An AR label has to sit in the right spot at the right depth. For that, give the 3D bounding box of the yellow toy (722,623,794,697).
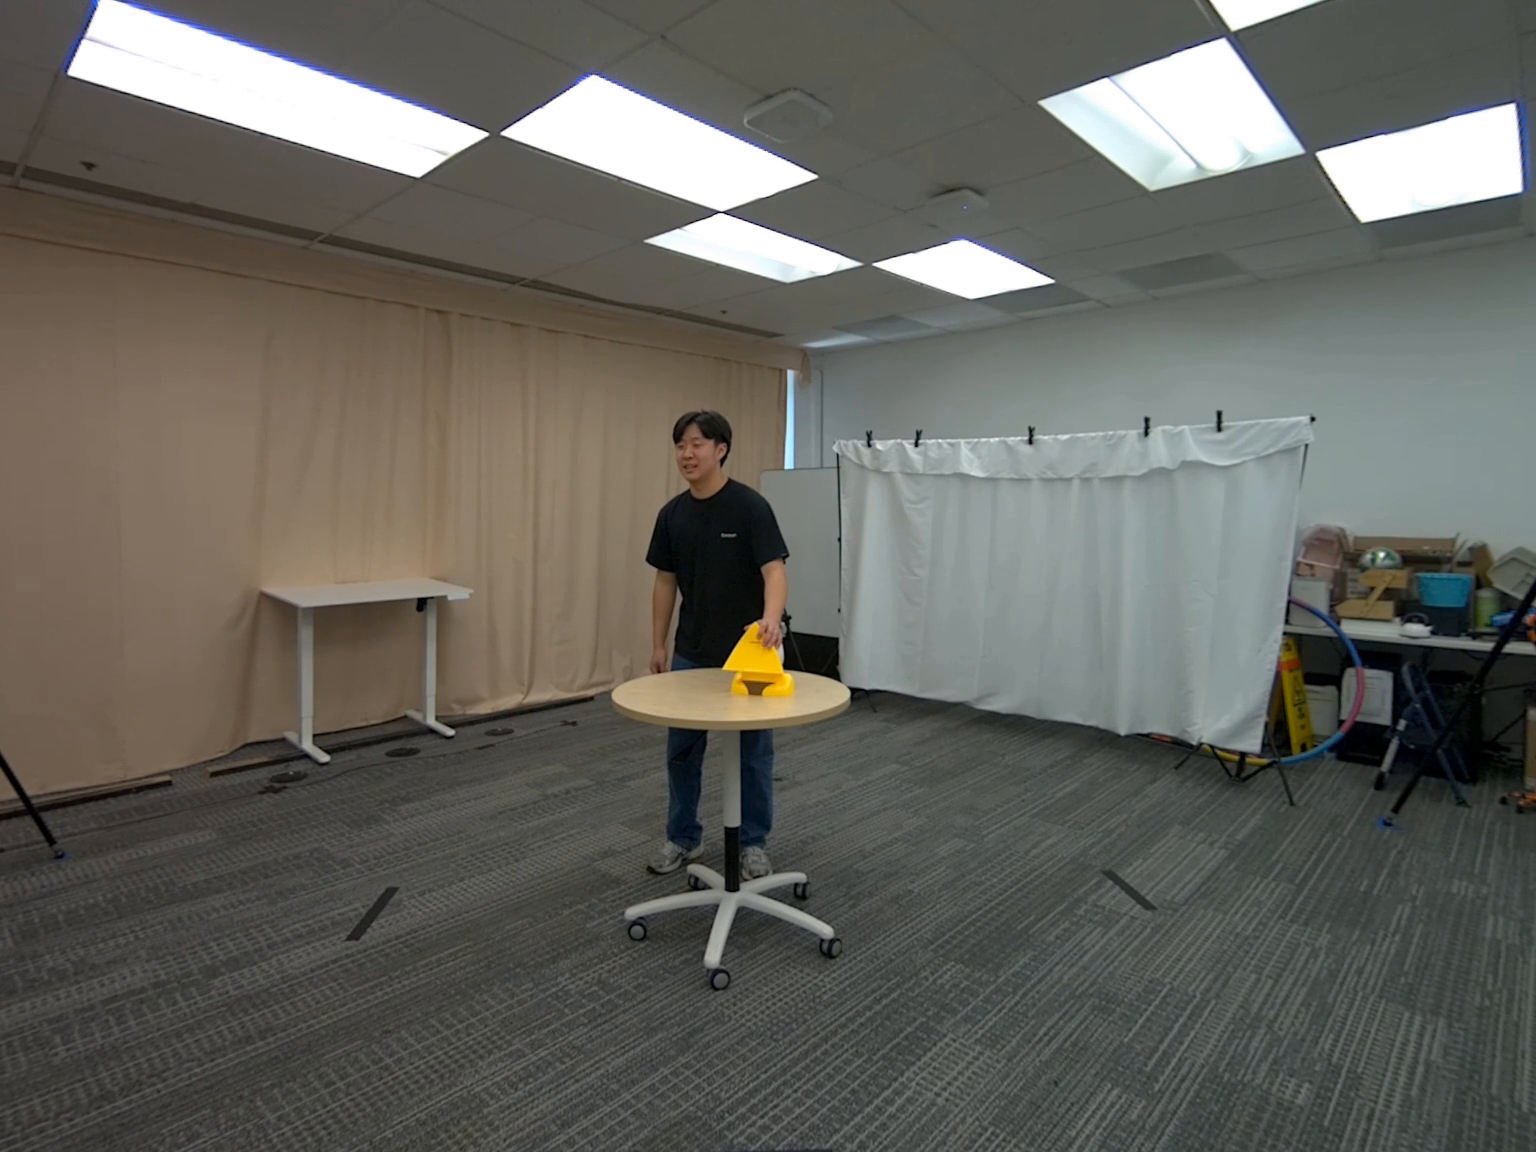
[{"bbox_3d":[-0.020,0.257,2.708,0.209,0.230,0.189,2,4,21],"label":"yellow toy"}]
